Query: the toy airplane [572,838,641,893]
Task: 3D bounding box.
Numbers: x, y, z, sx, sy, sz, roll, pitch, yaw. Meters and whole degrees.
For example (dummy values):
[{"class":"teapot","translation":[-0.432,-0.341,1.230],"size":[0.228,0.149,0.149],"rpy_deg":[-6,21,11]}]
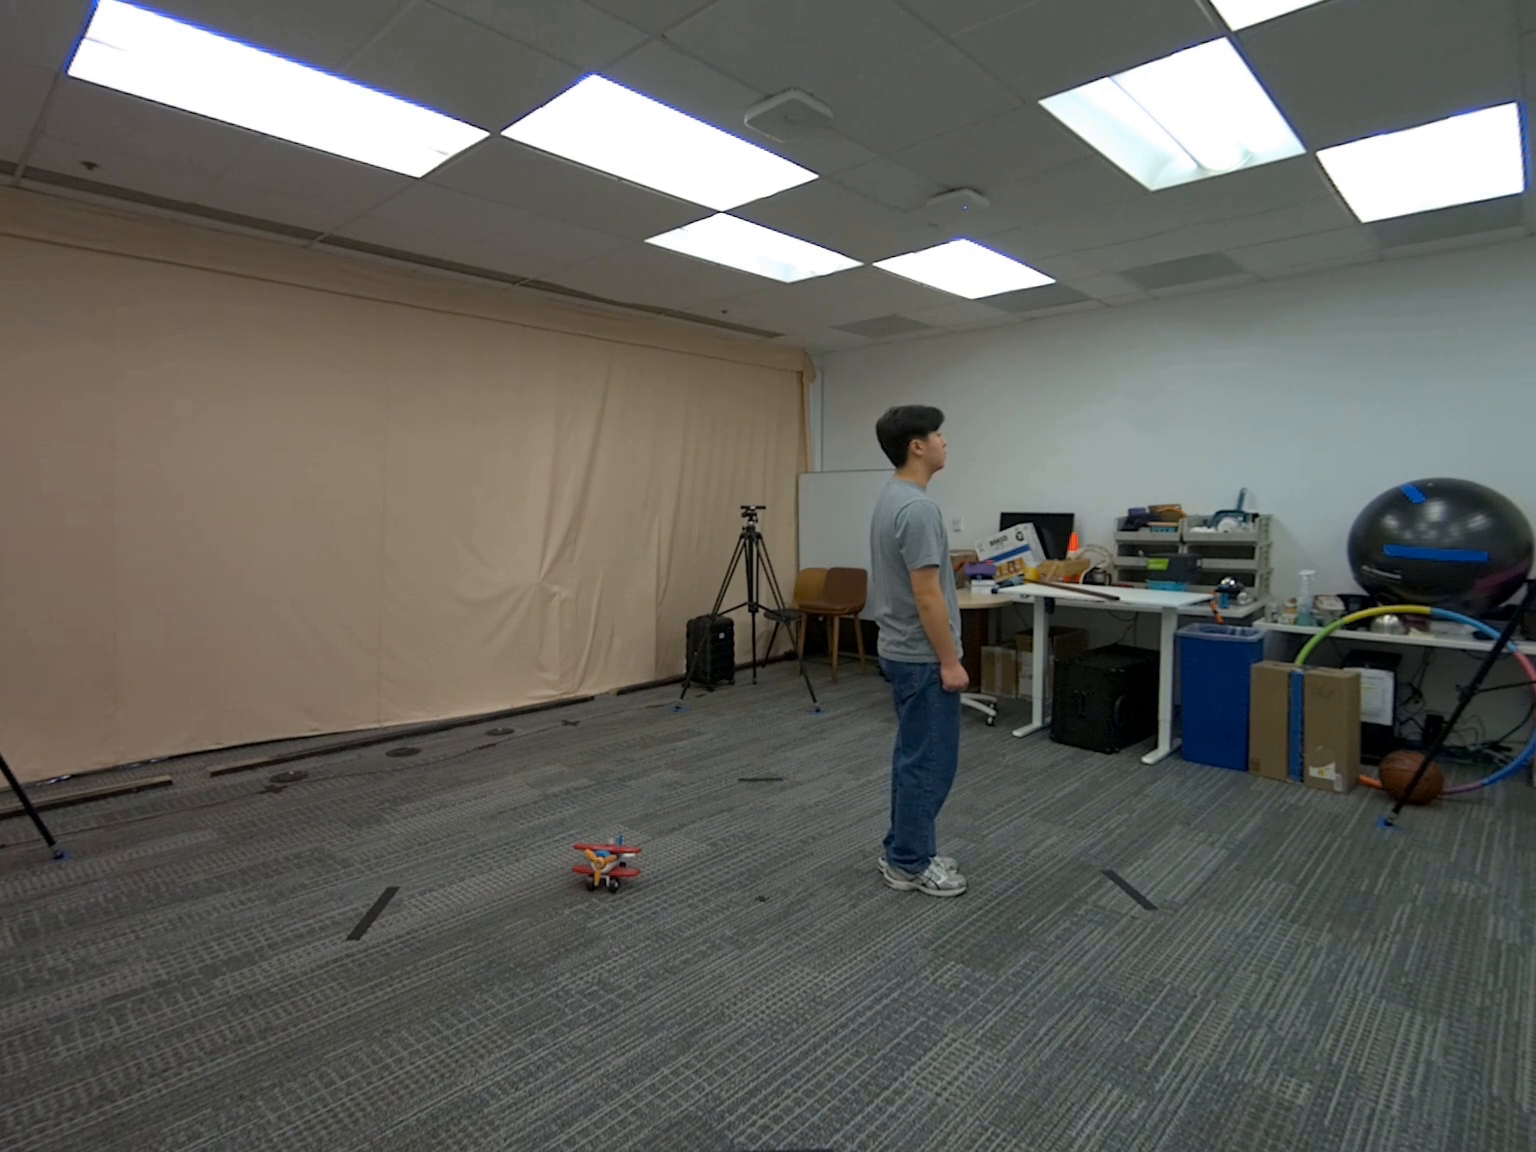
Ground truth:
[{"class":"toy airplane","translation":[-0.608,1.069,3.141],"size":[0.247,0.156,0.264],"rpy_deg":[-1,4,-18]}]
